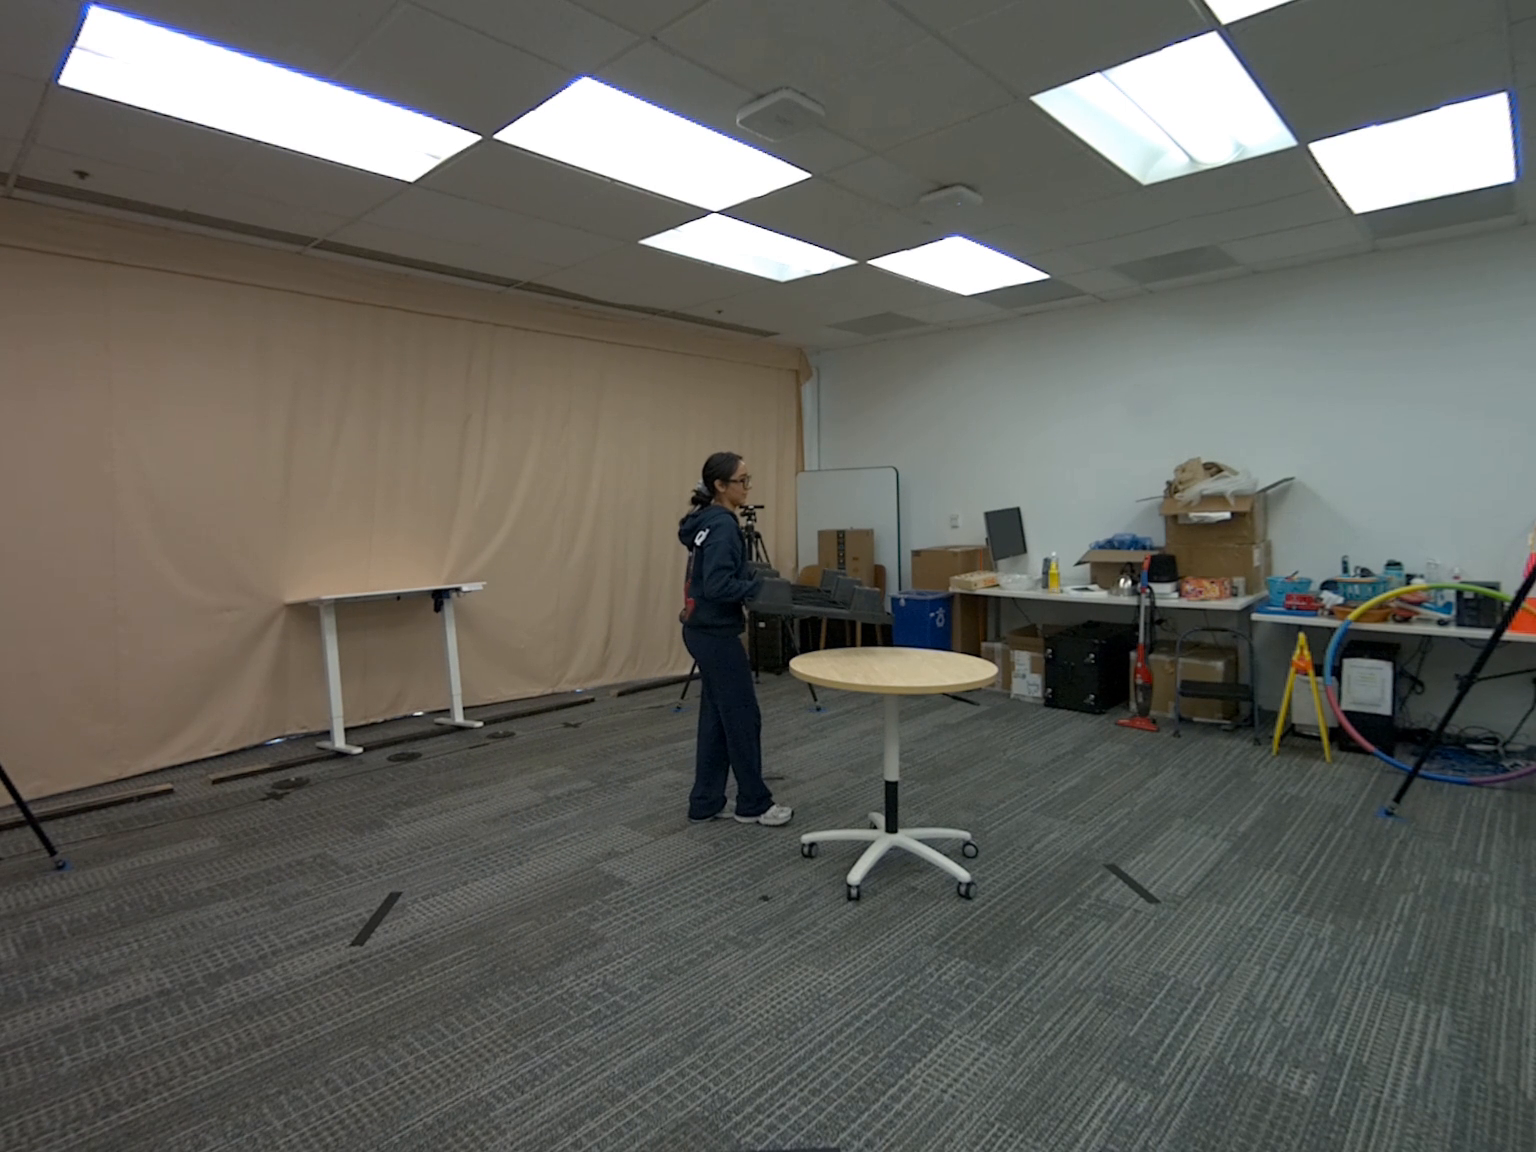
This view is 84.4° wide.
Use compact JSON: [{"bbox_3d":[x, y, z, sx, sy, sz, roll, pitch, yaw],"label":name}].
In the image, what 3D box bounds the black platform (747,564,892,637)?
[{"bbox_3d":[0.175,0.062,3.725,0.601,0.143,0.813,5,6,-7],"label":"black platform"}]
